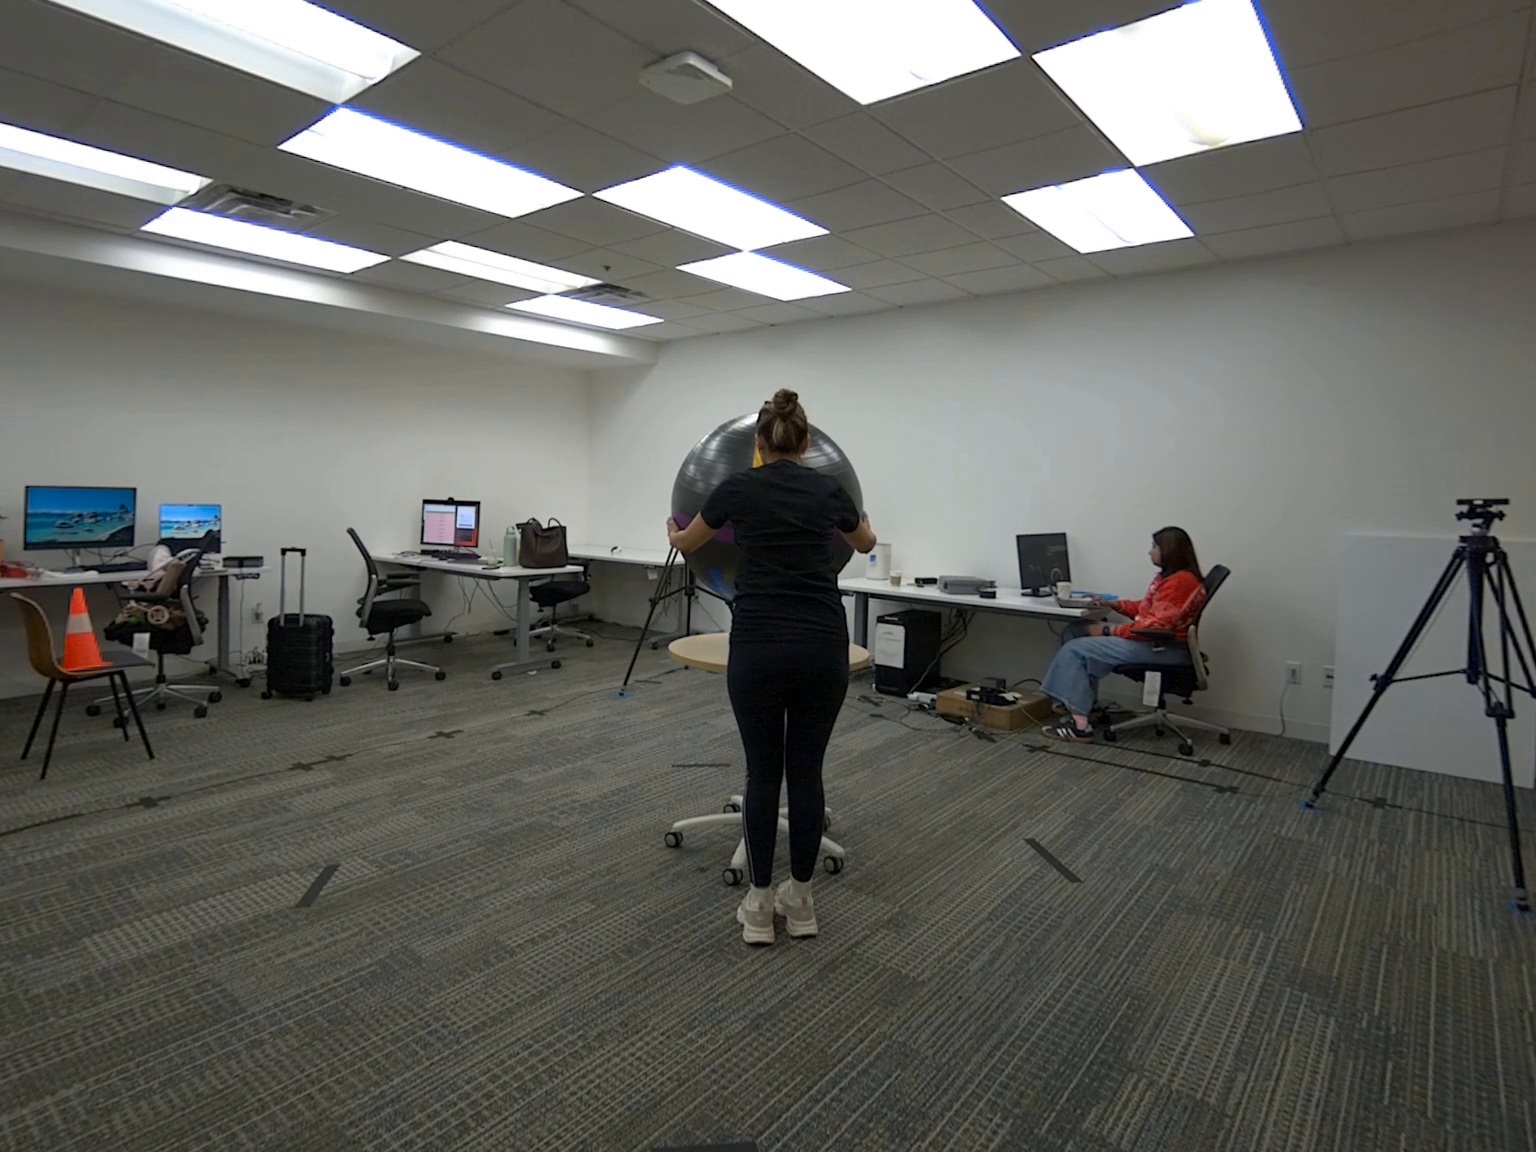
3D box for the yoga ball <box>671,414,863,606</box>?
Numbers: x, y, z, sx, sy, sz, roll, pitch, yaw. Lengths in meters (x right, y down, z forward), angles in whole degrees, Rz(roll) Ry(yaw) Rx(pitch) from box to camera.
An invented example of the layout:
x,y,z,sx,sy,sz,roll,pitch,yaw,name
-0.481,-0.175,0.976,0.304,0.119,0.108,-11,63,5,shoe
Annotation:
x,y,z,sx,sy,sz,roll,pitch,yaw,name
-0.011,-0.256,3.363,0.757,0.756,0.762,1,4,-2,yoga ball
